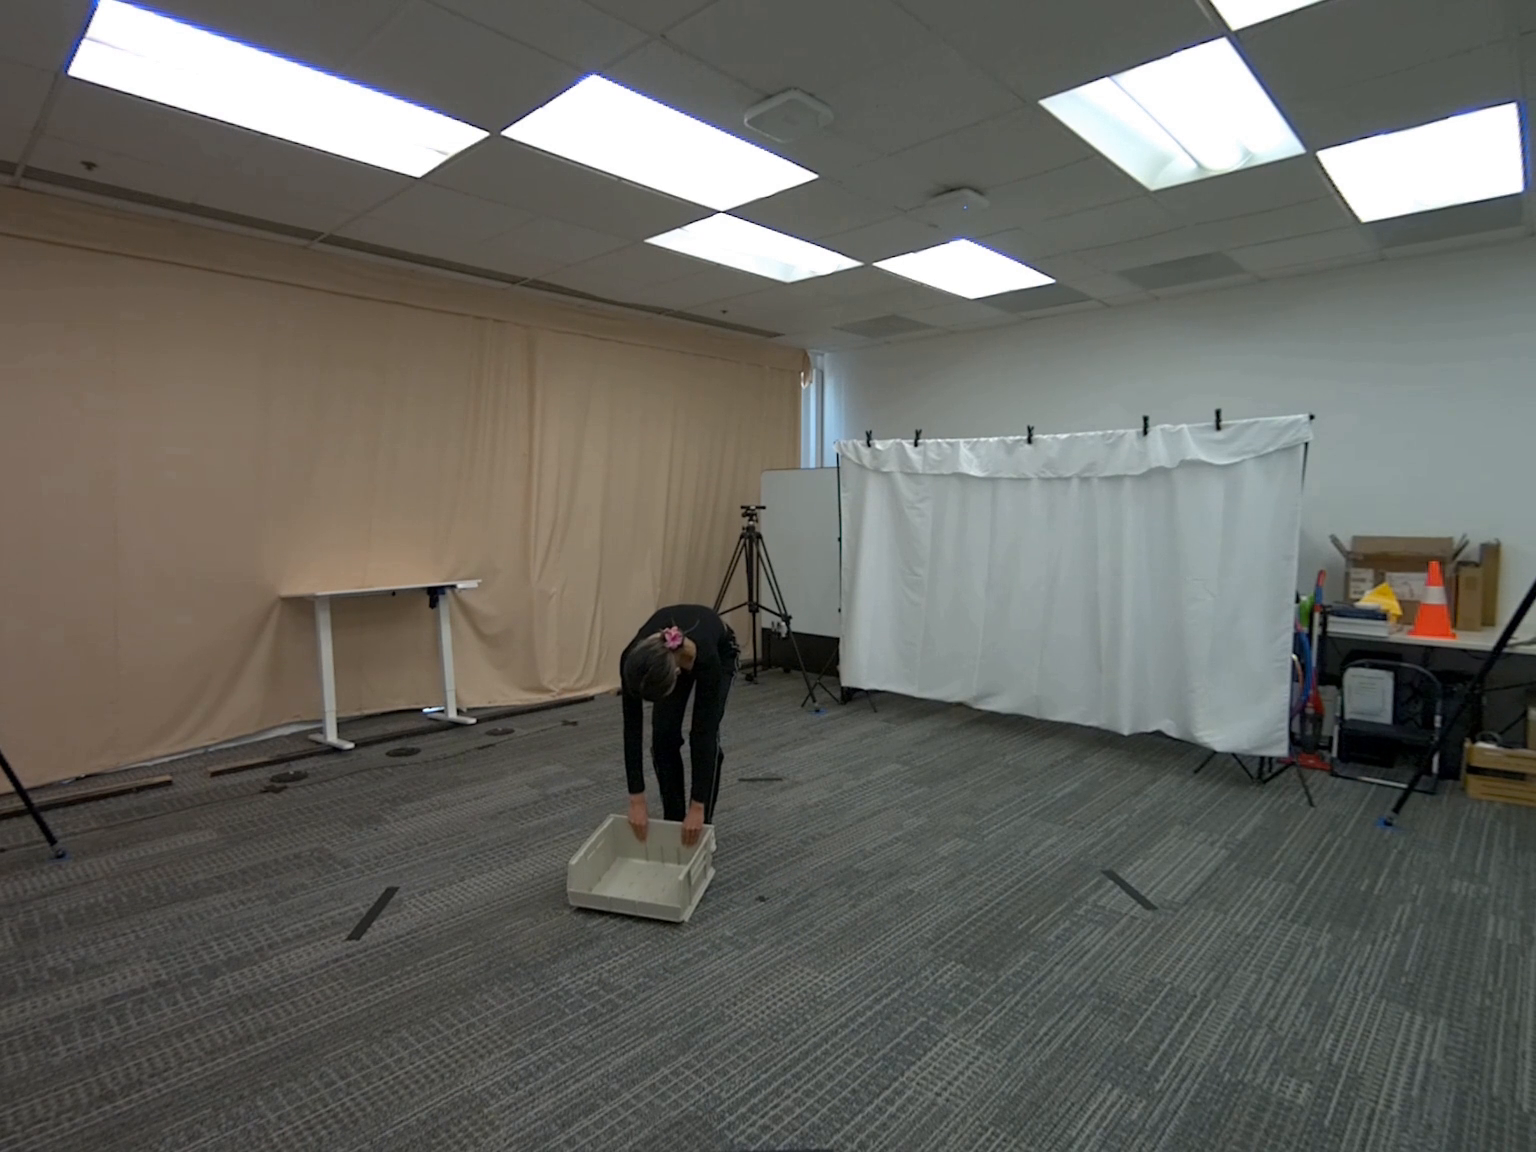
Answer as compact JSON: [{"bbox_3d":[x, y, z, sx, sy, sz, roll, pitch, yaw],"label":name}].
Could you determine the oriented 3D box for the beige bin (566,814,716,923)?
[{"bbox_3d":[-0.440,1.041,2.992,0.430,0.188,0.373,0,11,16],"label":"beige bin"}]
